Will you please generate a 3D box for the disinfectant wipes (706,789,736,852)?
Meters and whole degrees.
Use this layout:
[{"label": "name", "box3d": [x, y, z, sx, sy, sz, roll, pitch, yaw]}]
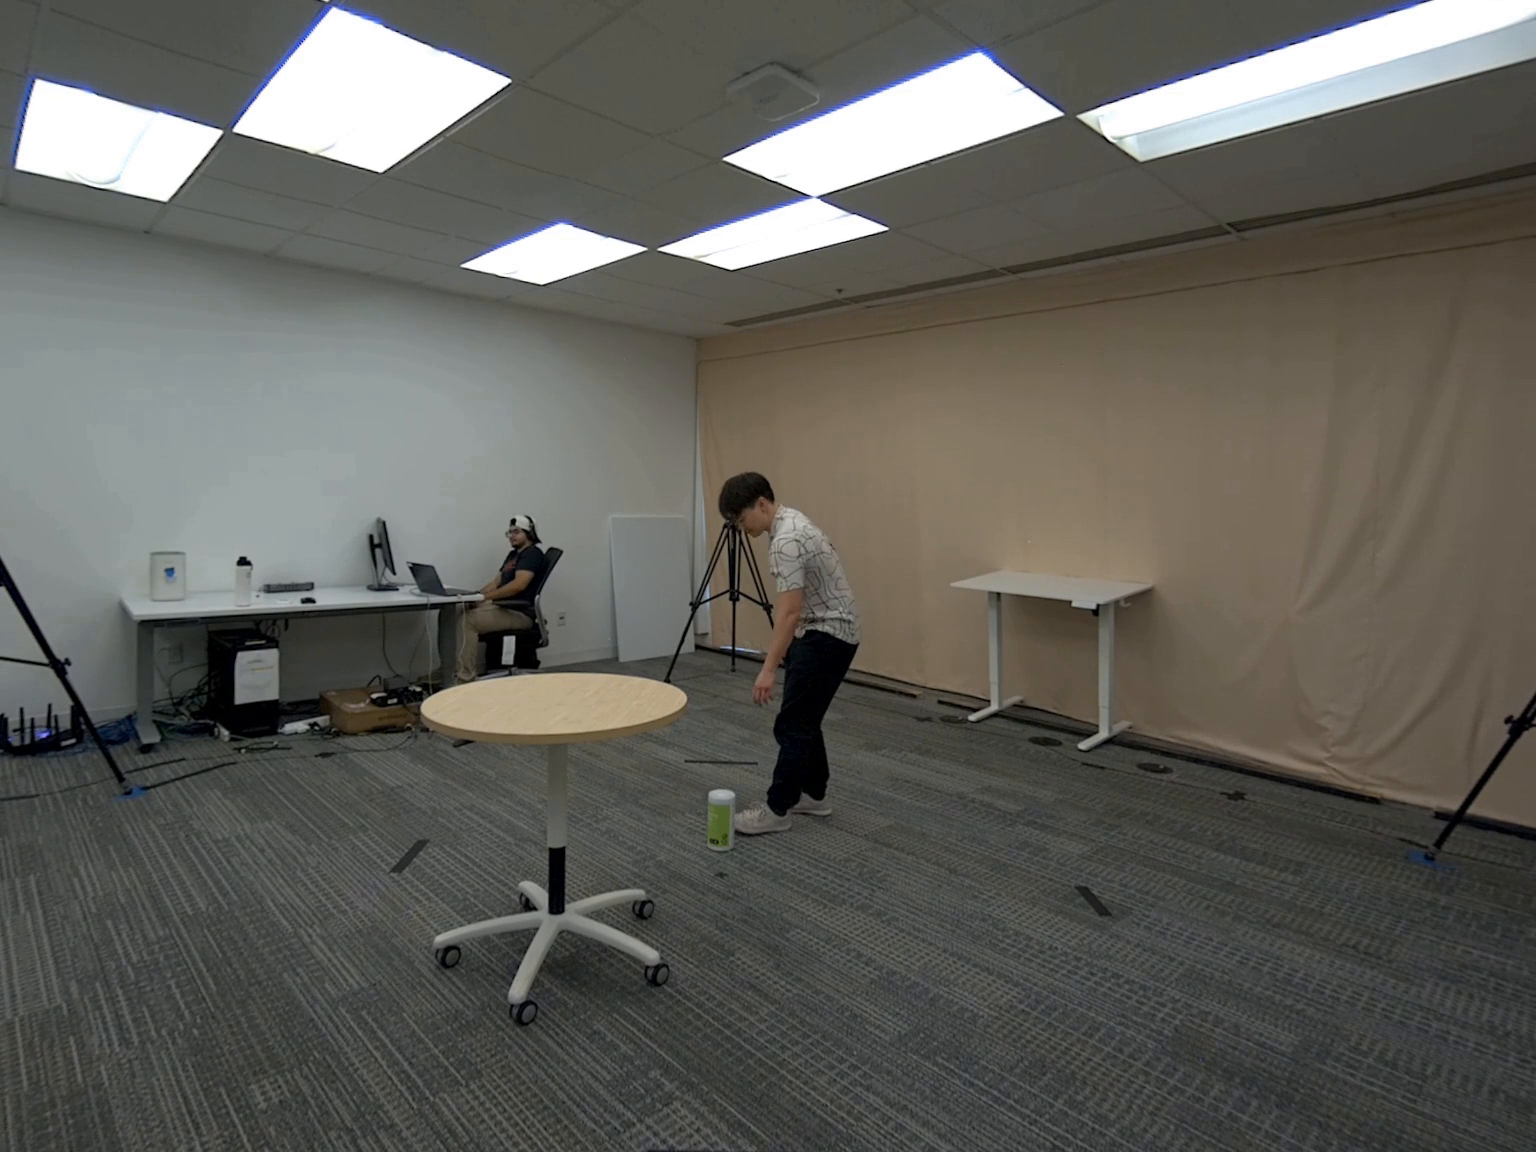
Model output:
[{"label": "disinfectant wipes", "box3d": [-0.194, 0.974, 3.356, 0.118, 0.217, 0.118, 2, 4, -2]}]
